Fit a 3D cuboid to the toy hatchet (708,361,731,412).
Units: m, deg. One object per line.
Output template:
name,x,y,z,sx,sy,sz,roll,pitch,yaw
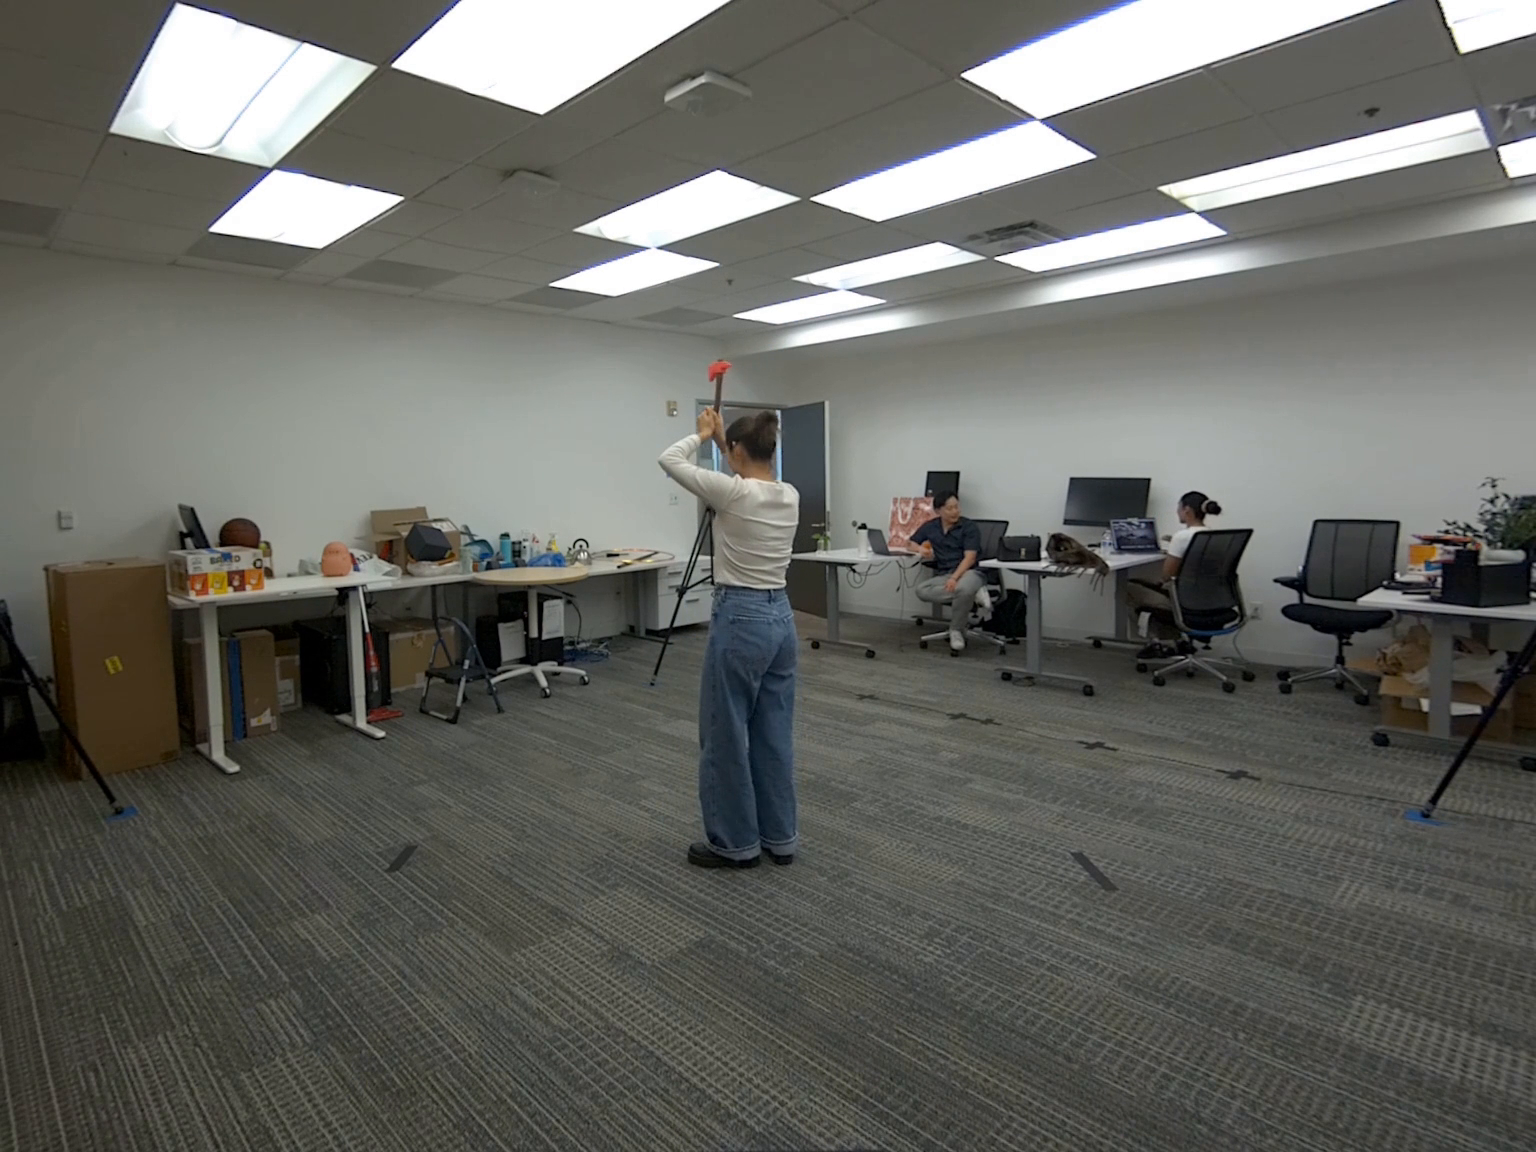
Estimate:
toy hatchet,-0.210,-0.689,3.226,0.029,0.267,0.136,1,22,-41
